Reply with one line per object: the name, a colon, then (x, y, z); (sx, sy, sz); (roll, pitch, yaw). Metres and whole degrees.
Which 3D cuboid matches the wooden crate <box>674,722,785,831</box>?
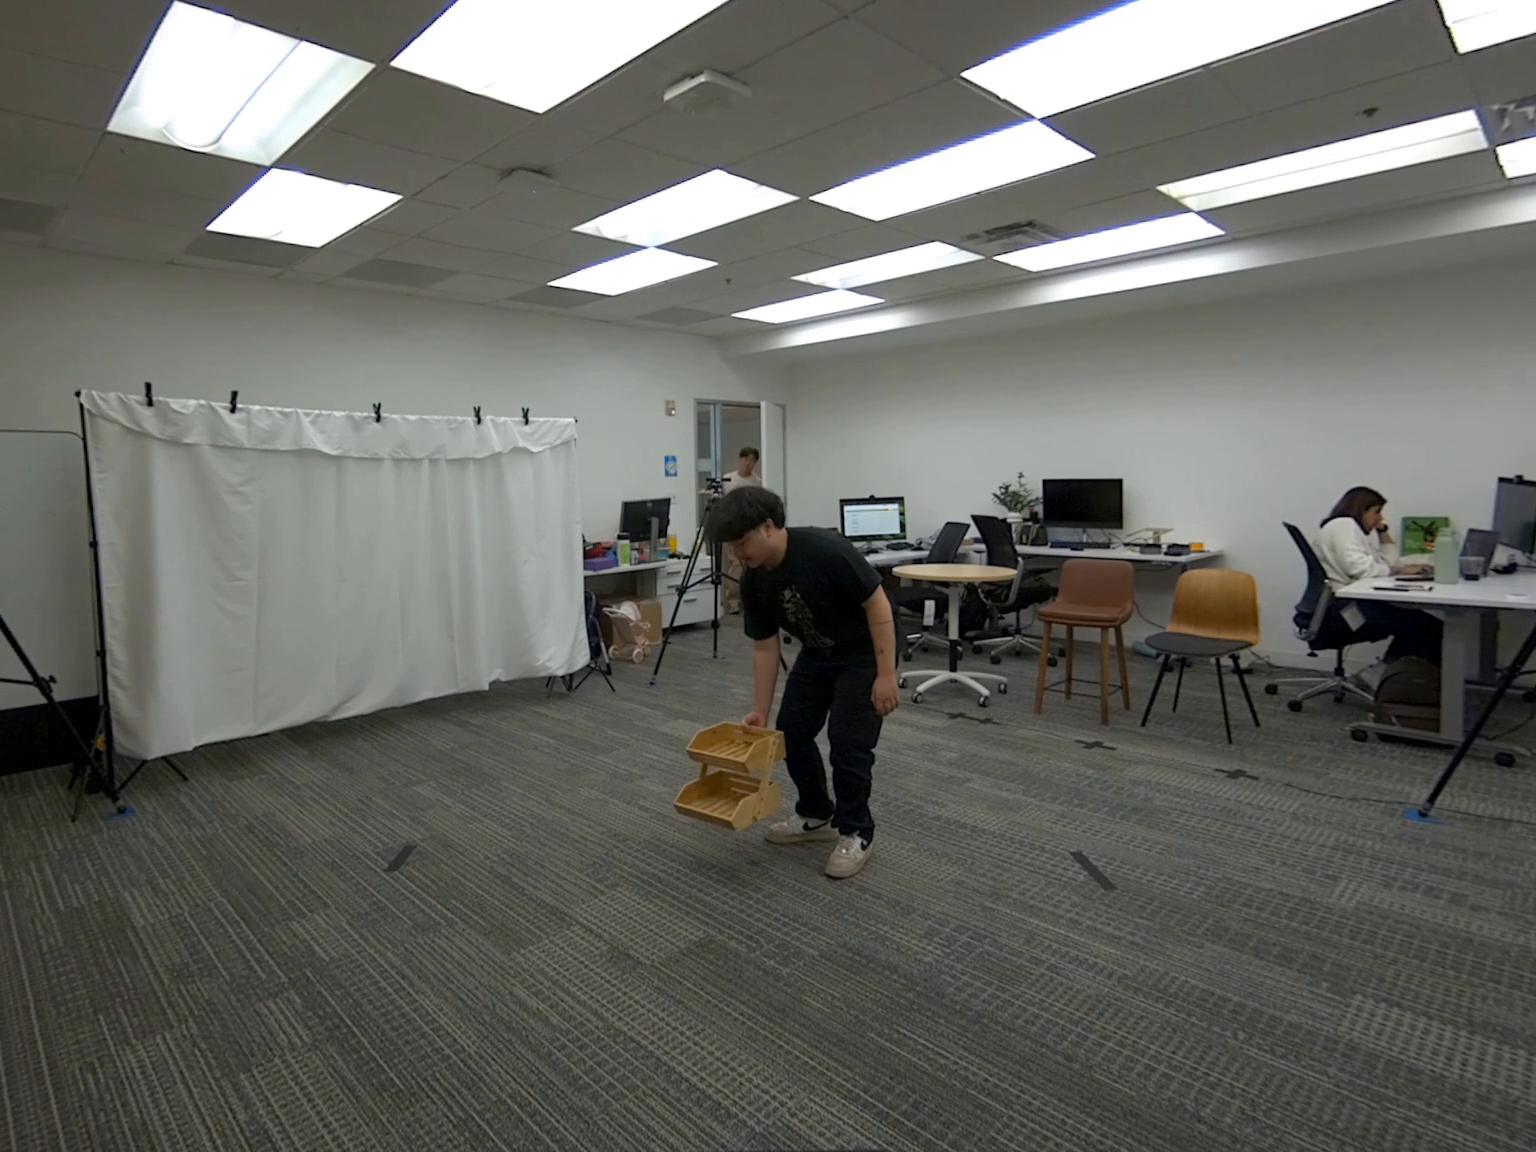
wooden crate: (-0.142, 0.705, 3.052); (0.334, 0.272, 0.295); (-1, 7, 43)
